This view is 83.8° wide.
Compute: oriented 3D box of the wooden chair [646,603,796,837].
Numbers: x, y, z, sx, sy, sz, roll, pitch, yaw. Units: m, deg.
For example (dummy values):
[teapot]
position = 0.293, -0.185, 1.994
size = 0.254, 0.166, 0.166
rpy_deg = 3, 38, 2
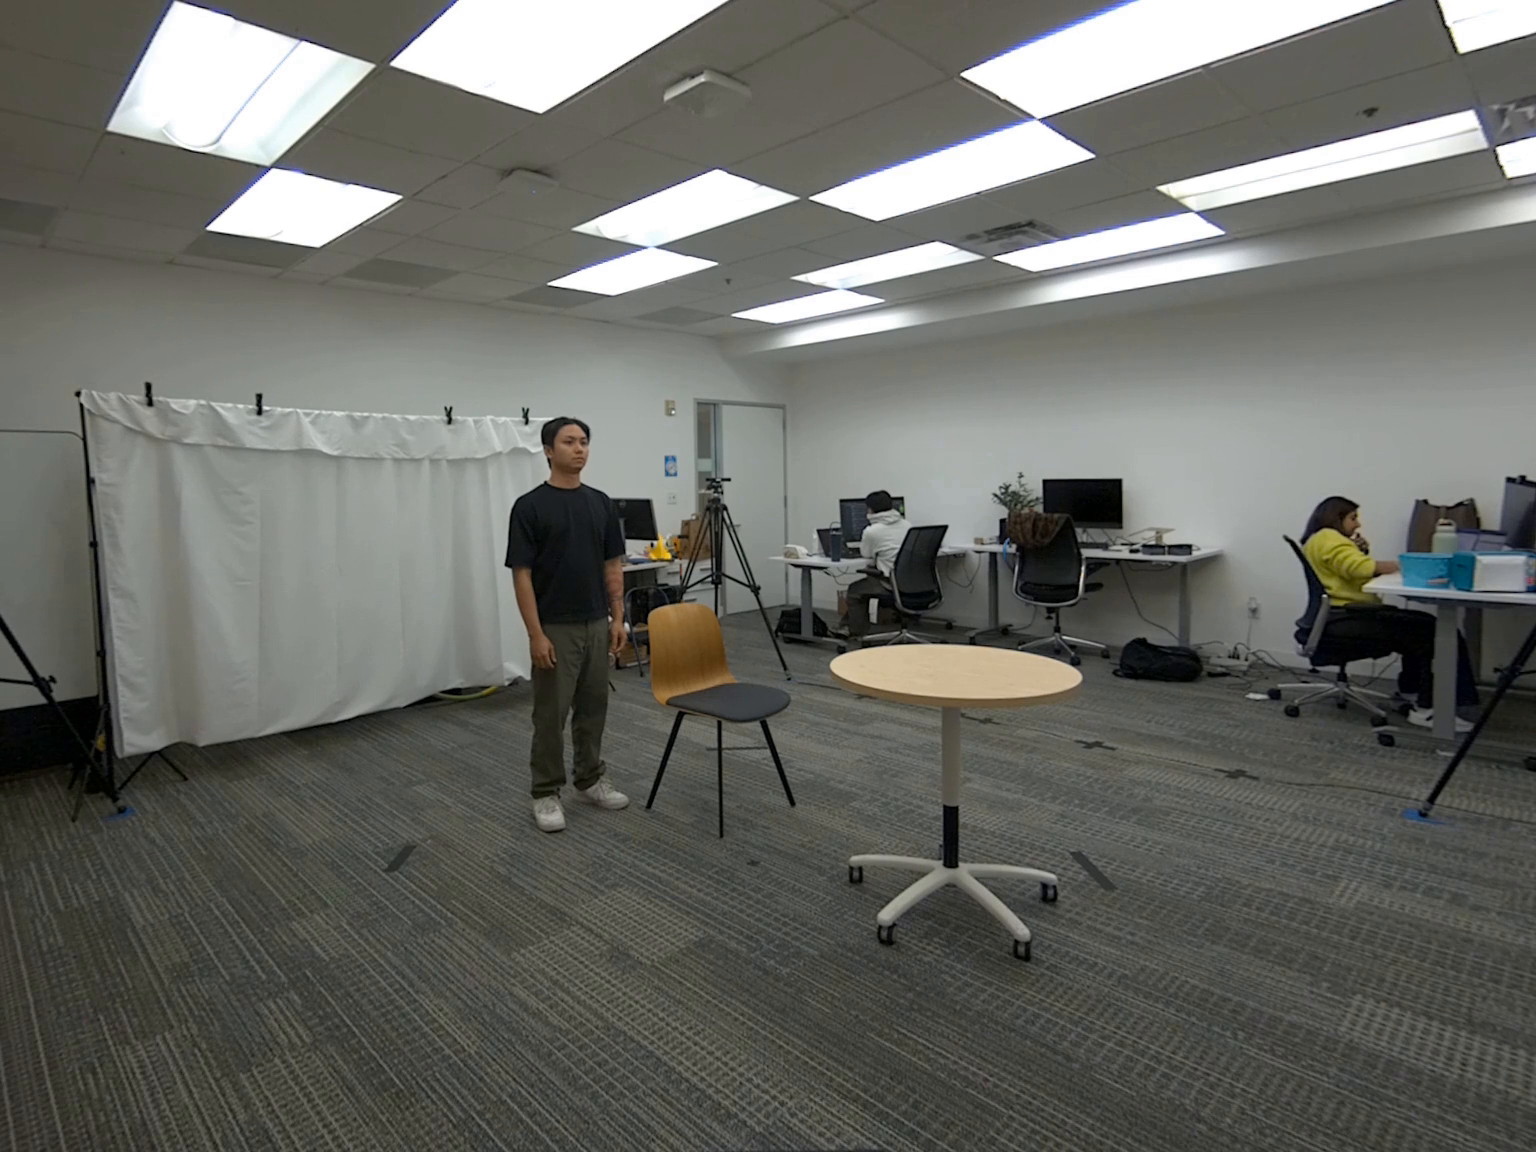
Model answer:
[wooden chair]
position = -0.204, 0.558, 3.598
size = 0.537, 0.877, 0.465
rpy_deg = -3, 1, 44
